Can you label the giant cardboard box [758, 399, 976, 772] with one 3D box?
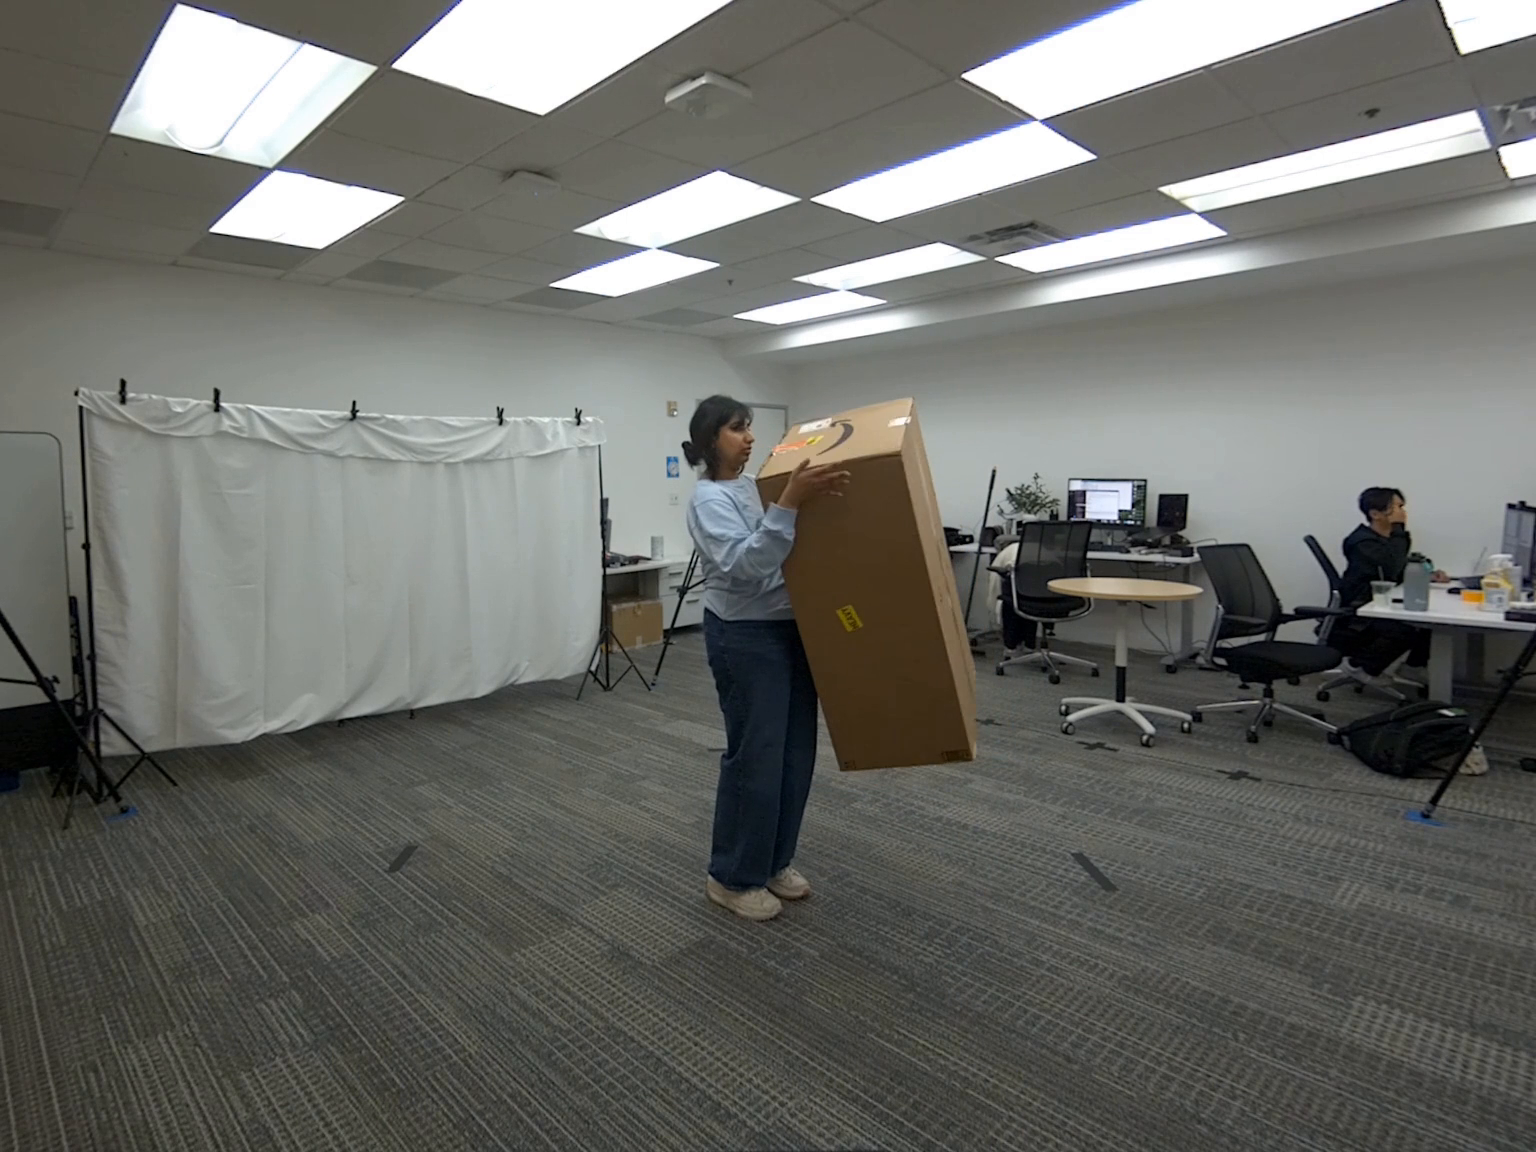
[{"bbox_3d":[0.349,0.023,2.762,0.454,1.005,0.587,-10,21,20],"label":"giant cardboard box"}]
